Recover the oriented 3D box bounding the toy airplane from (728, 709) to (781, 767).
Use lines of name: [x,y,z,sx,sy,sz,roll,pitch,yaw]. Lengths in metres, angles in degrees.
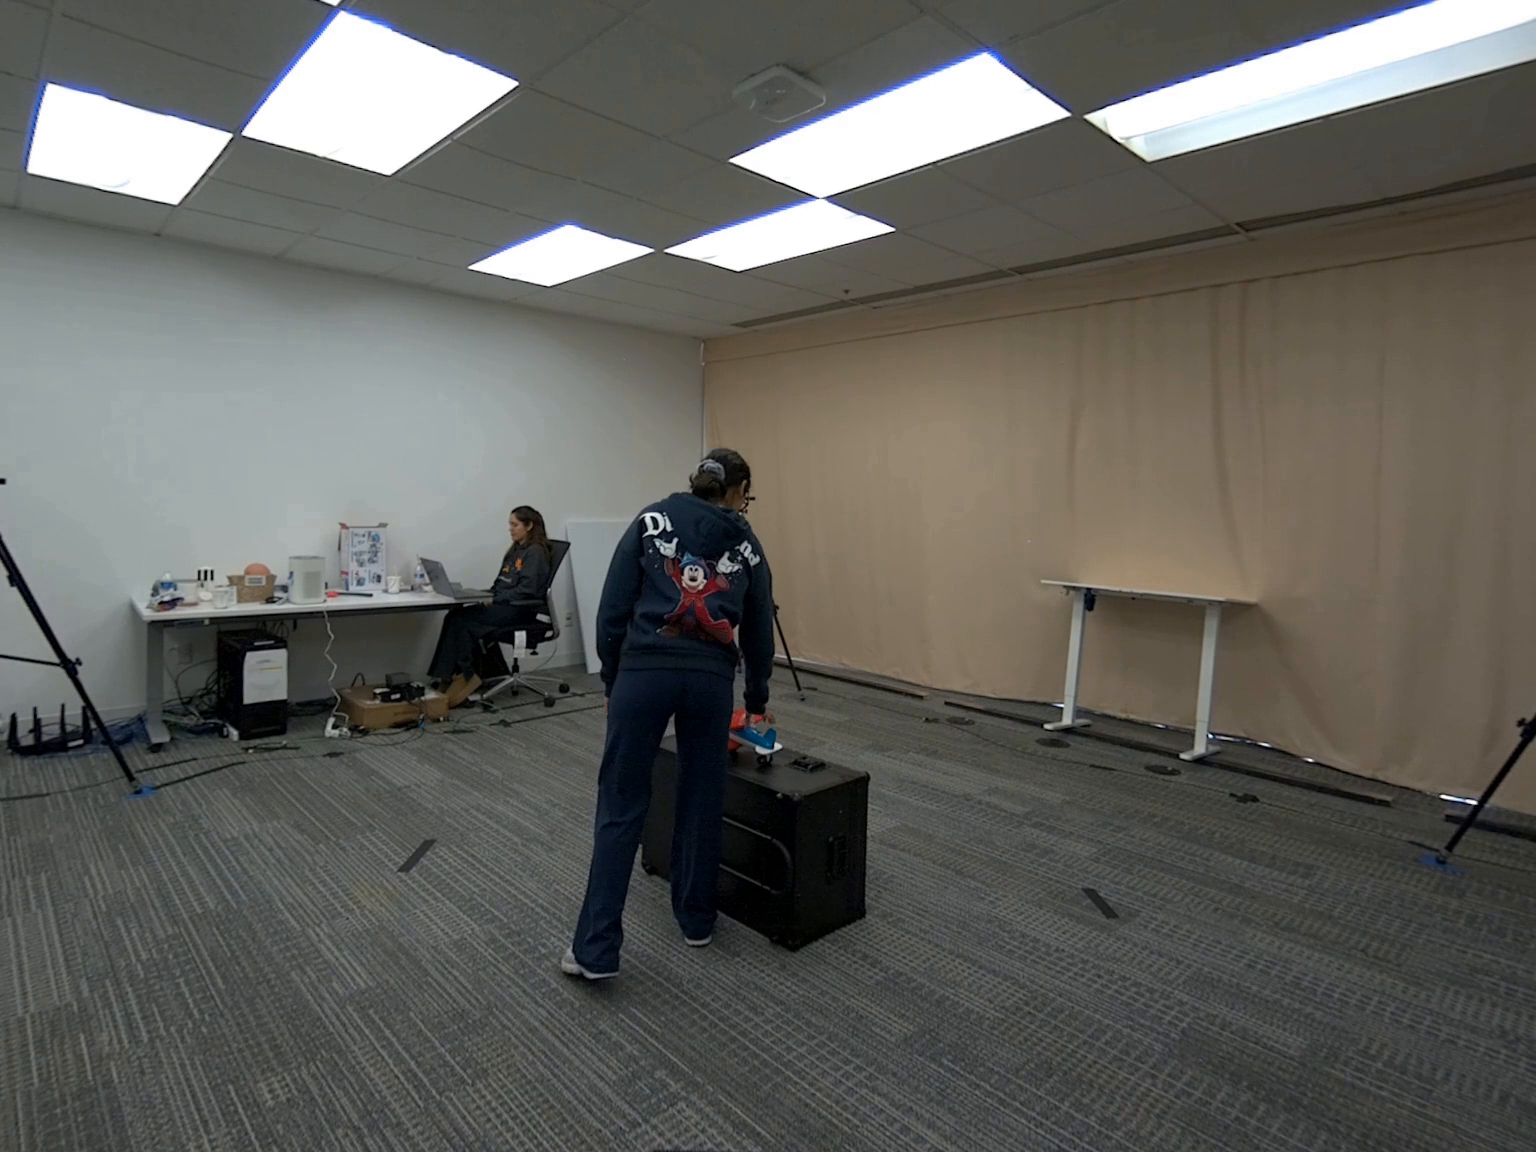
toy airplane: [-0.081,0.561,2.968,0.261,0.156,0.250,1,5,7]
